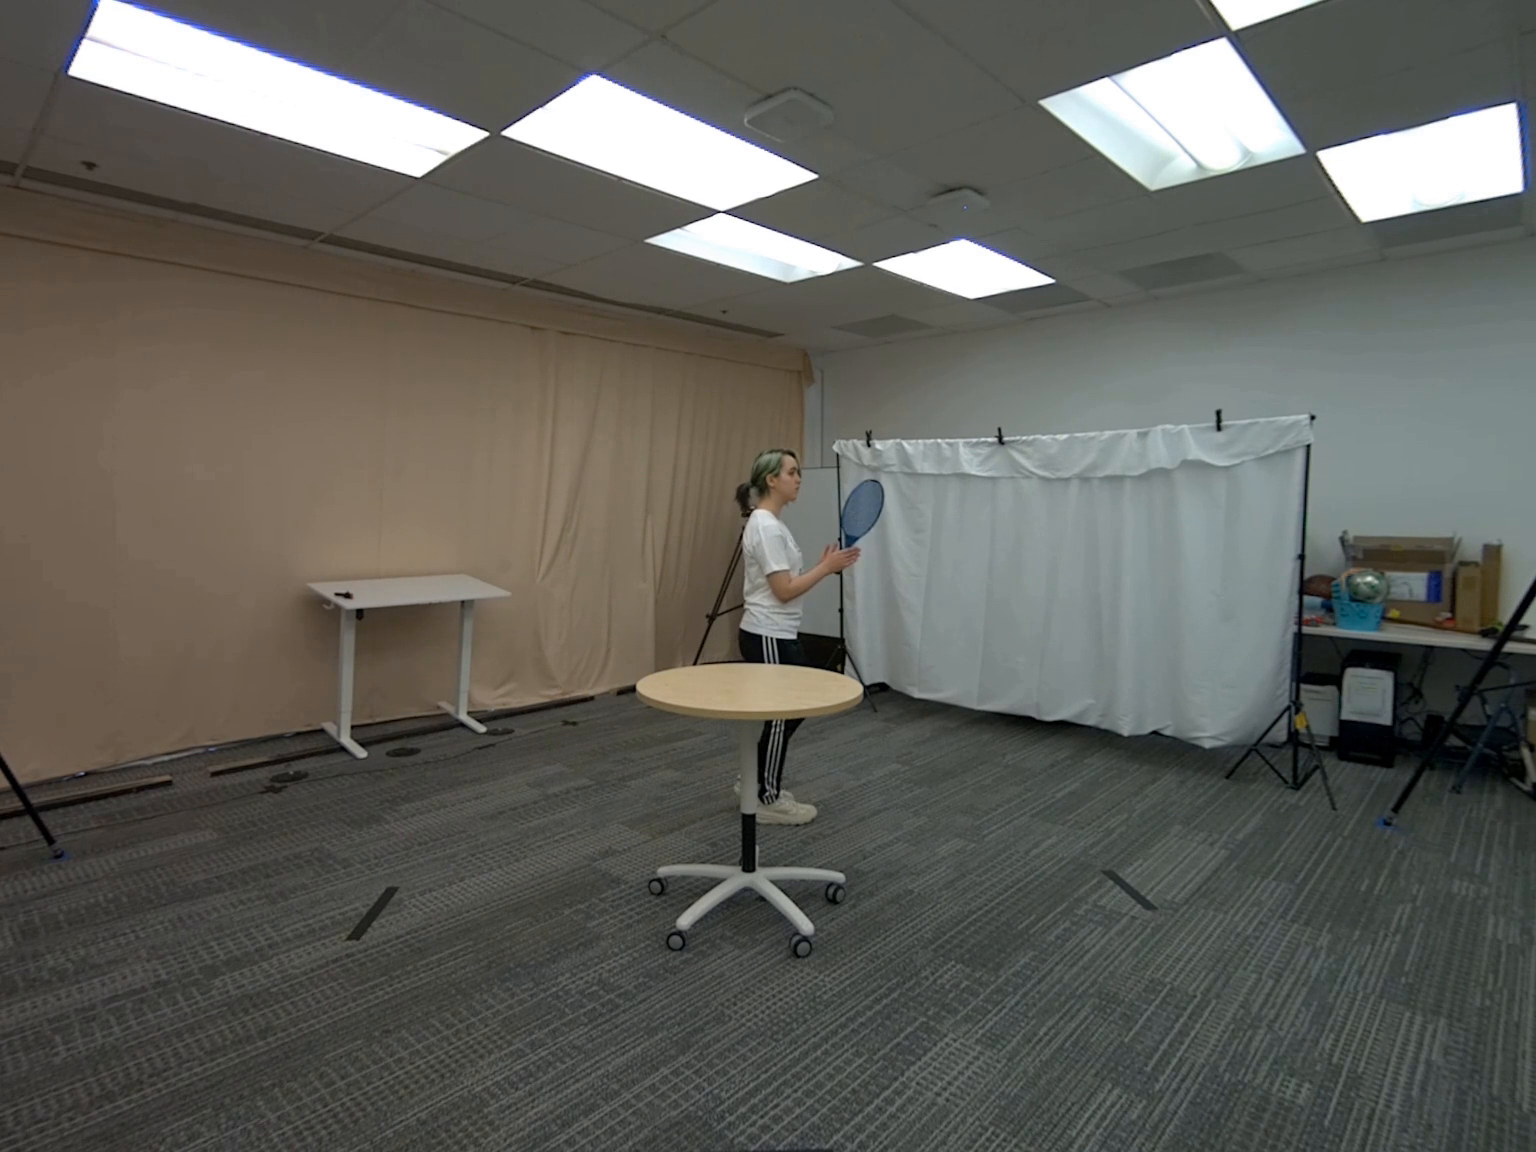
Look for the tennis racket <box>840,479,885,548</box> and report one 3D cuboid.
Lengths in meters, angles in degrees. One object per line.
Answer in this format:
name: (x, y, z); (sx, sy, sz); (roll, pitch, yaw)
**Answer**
tennis racket: (0.363, -0.207, 3.560); (0.206, 0.432, 0.033); (18, 11, -39)
